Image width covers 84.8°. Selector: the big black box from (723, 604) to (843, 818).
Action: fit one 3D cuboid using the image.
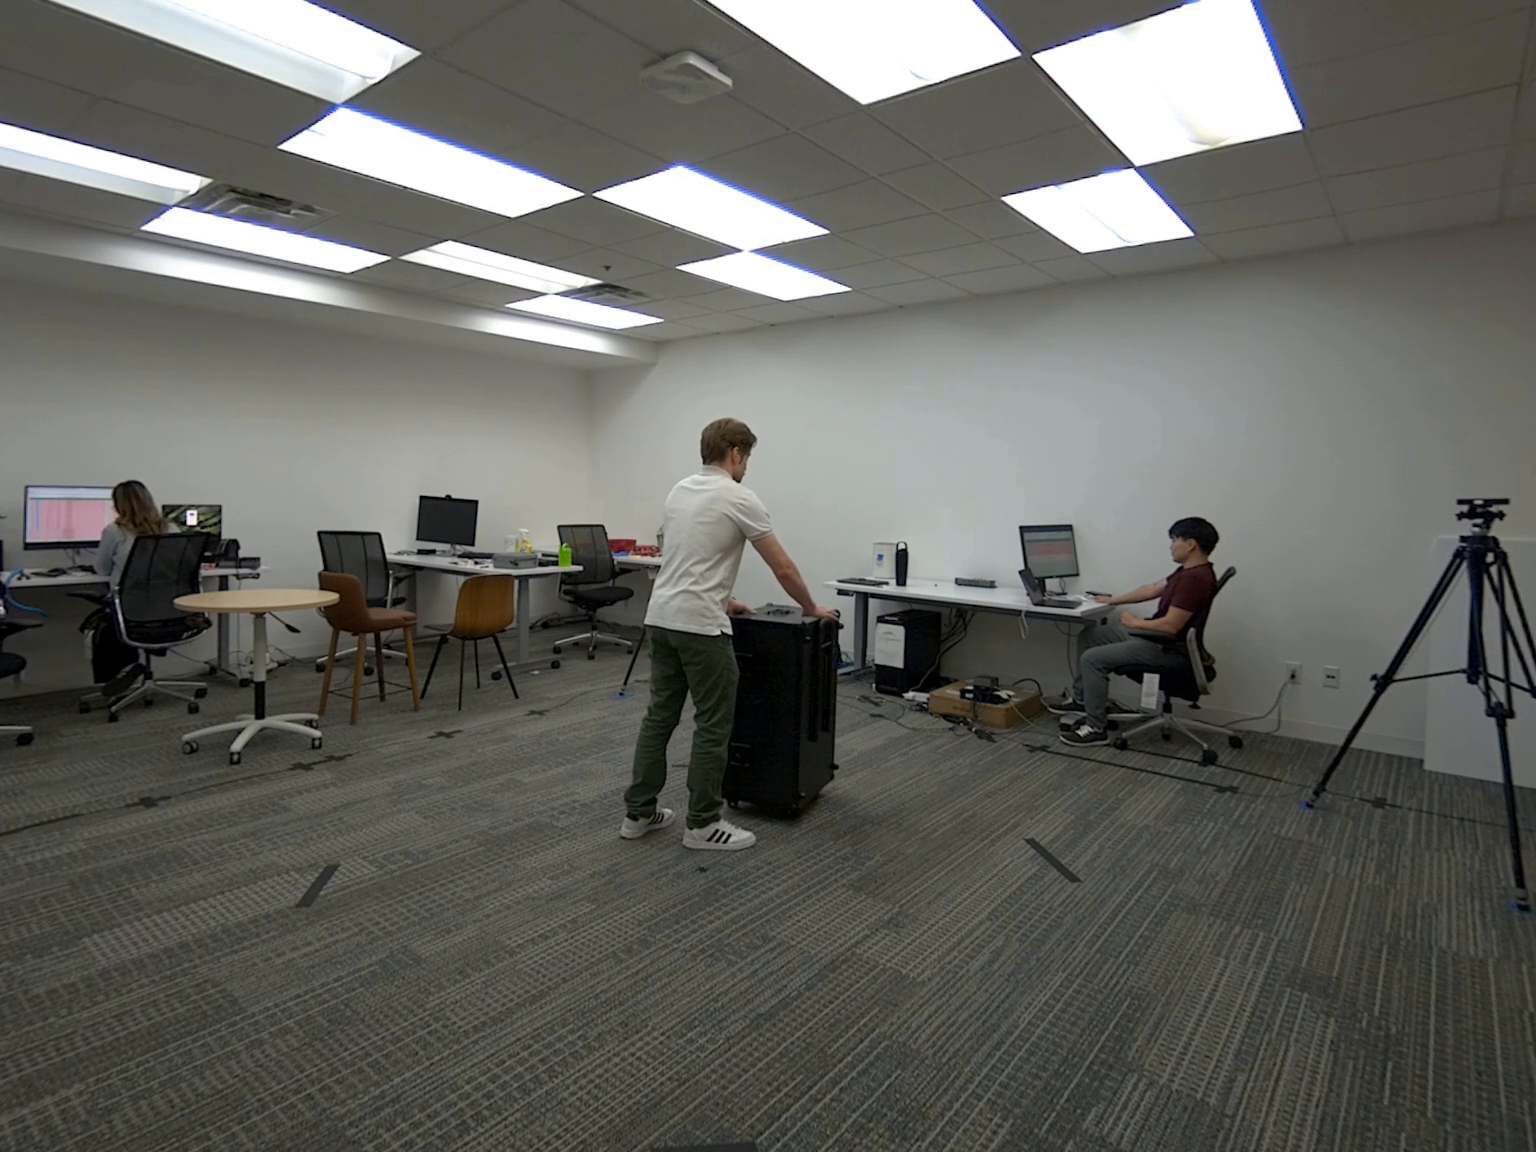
[{"bbox_3d":[0.064,0.585,3.771,0.395,0.865,0.513,3,5,22],"label":"big black box"}]
